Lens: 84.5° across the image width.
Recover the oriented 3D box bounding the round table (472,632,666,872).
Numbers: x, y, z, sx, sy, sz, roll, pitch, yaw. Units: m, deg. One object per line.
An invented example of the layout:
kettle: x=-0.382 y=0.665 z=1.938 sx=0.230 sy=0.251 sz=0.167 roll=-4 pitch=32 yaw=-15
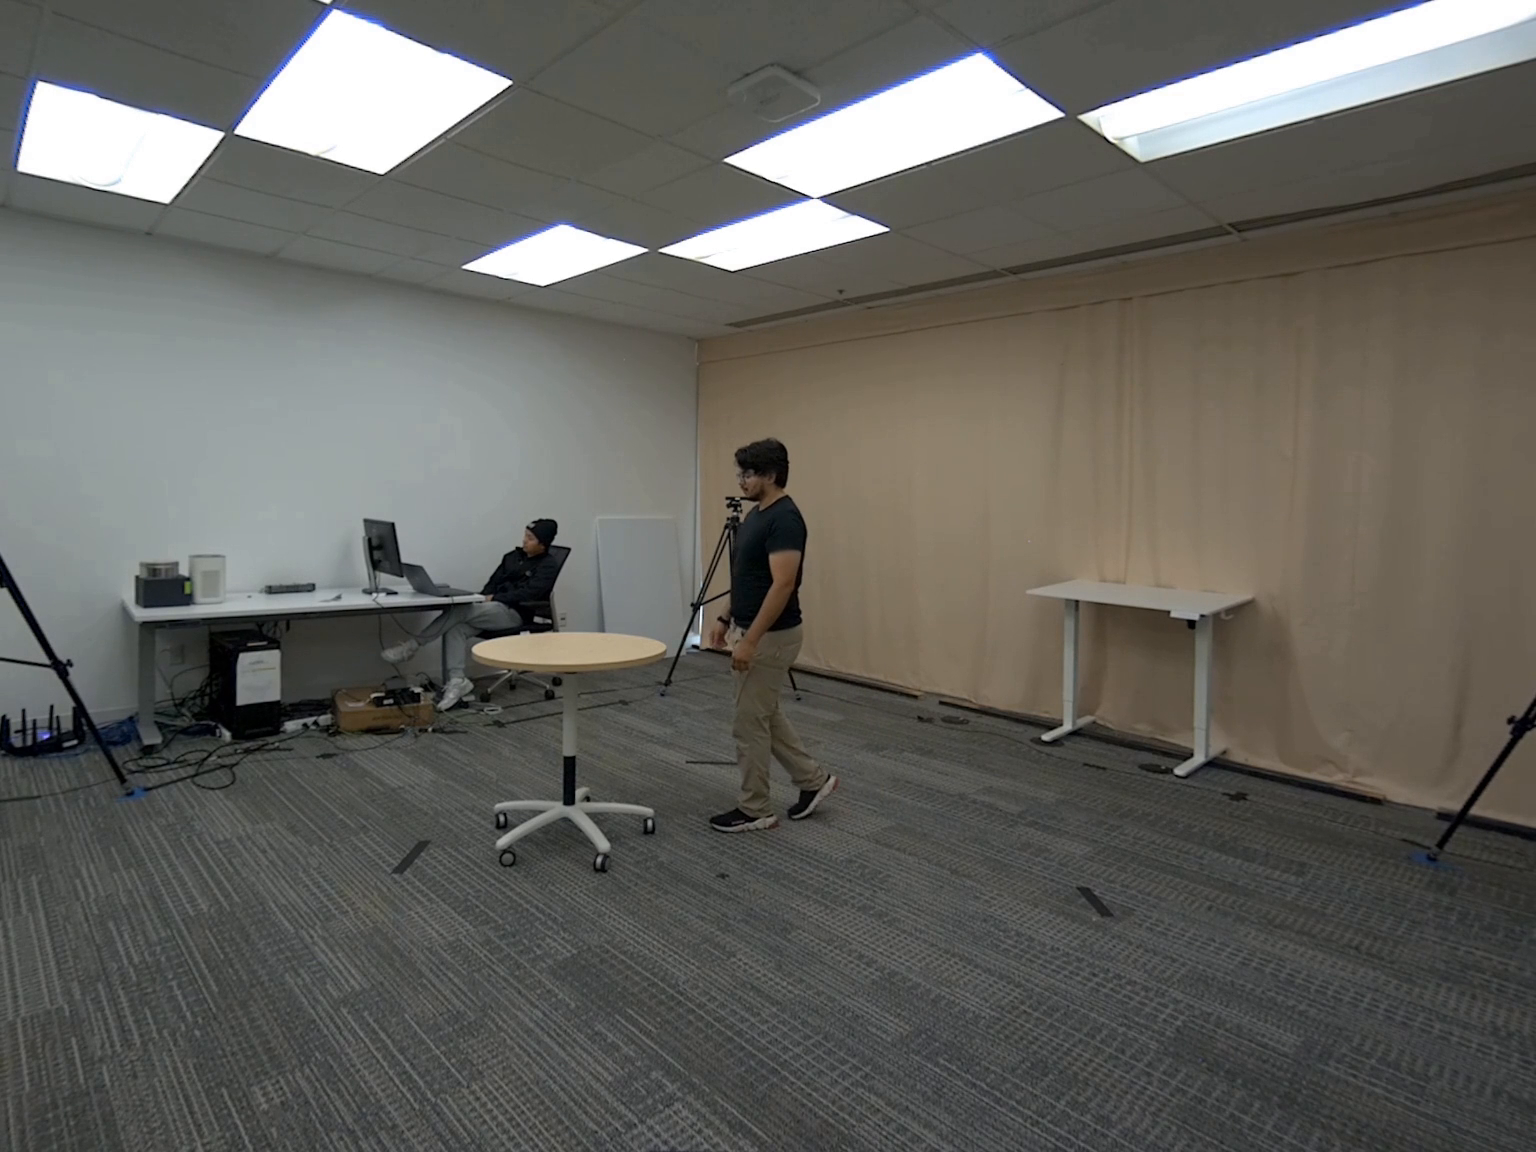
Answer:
round table: x=-0.816 y=0.673 z=3.402 sx=0.784 sy=0.785 sz=0.787 roll=1 pitch=4 yaw=-1
